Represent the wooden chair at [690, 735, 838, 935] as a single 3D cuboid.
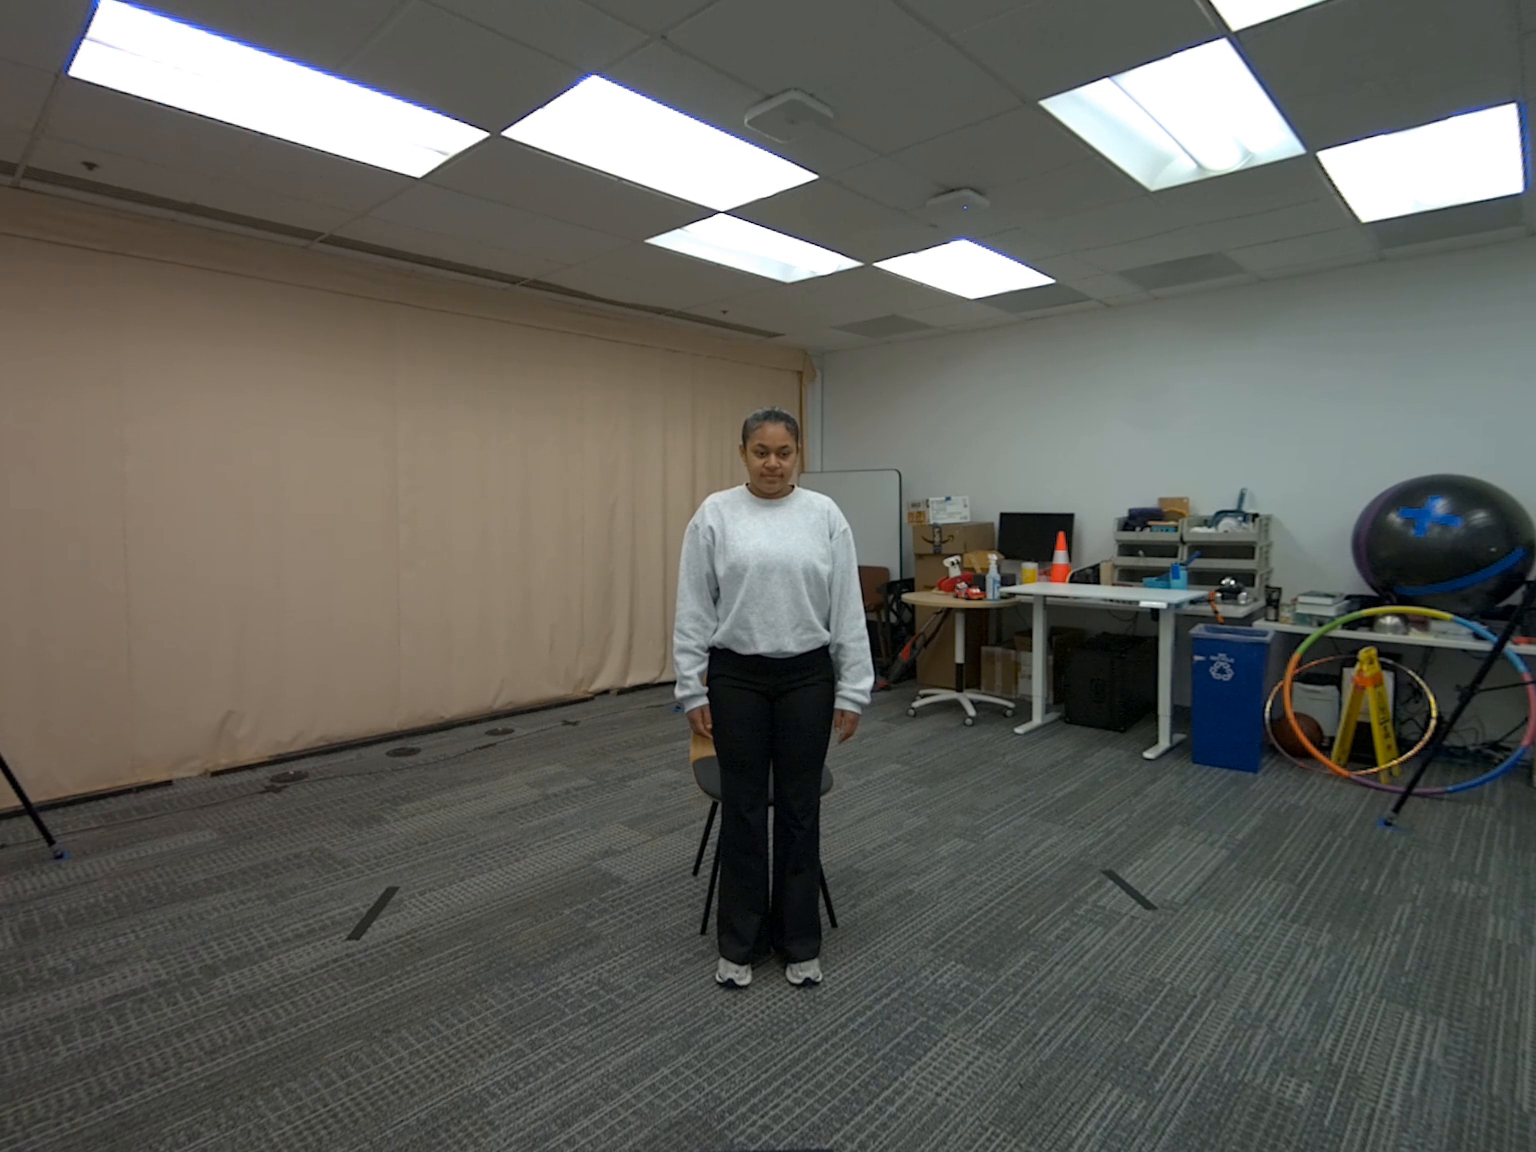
[{"bbox_3d":[-0.024,0.716,2.940,0.475,0.878,0.527,0,-1,-8],"label":"wooden chair"}]
